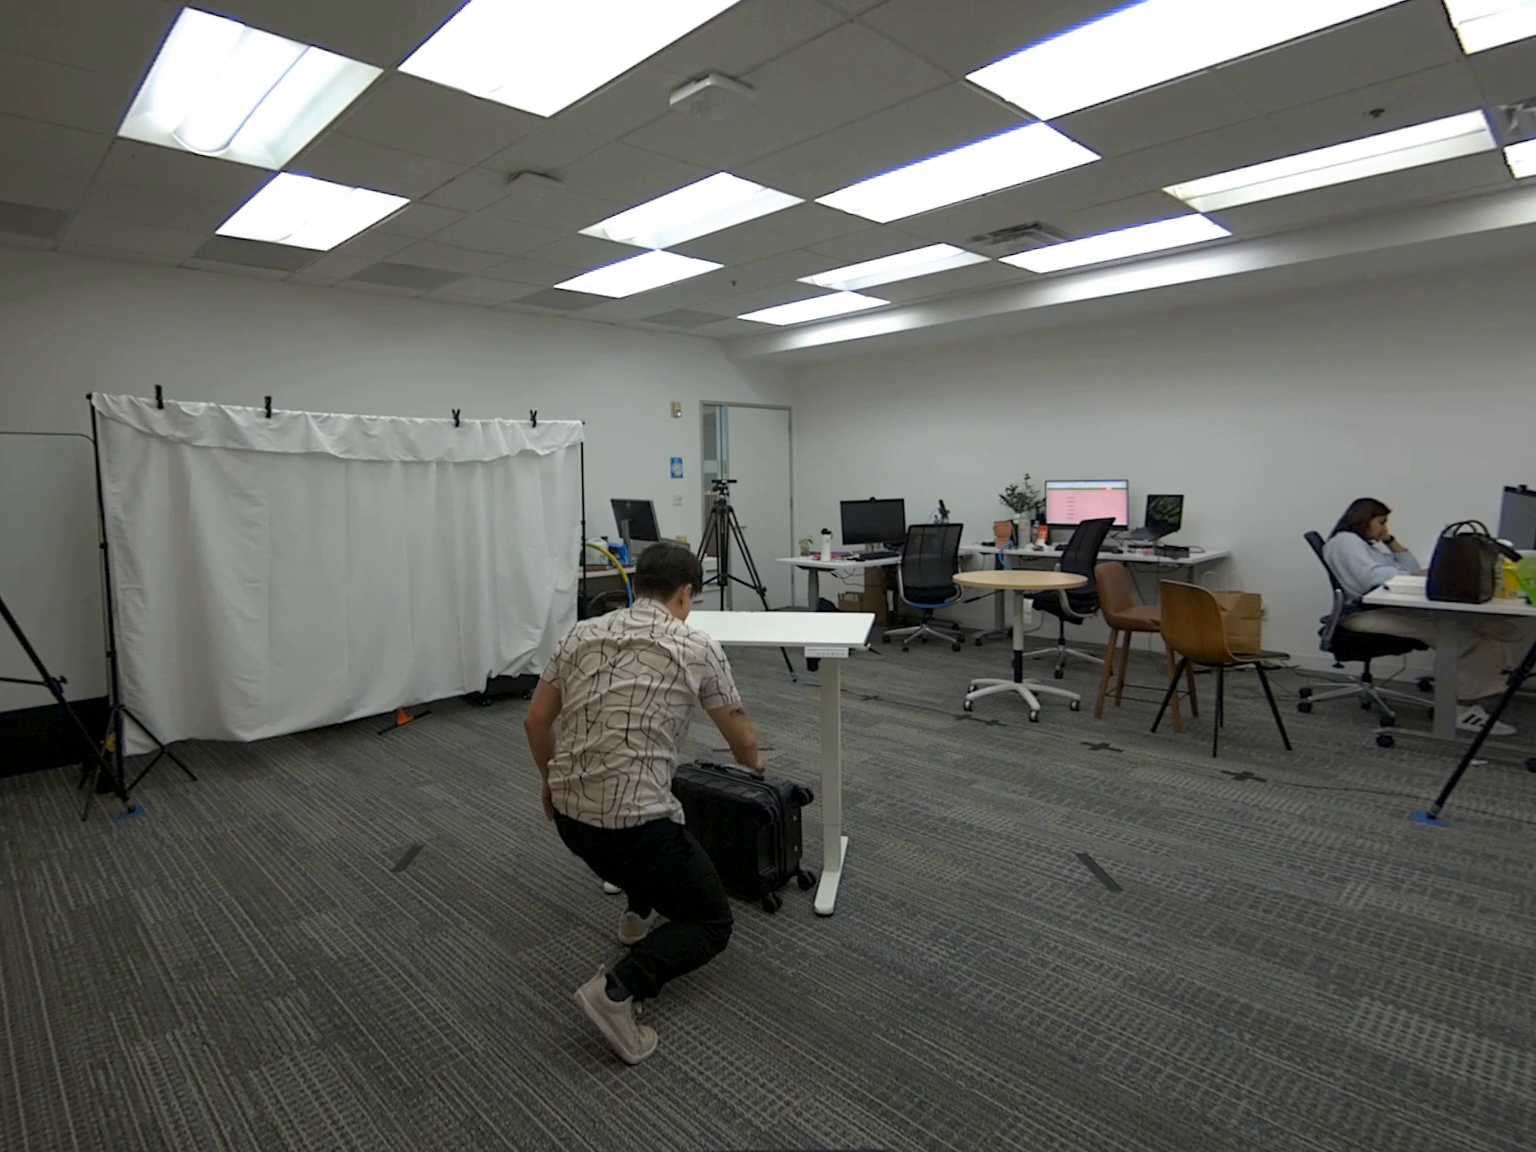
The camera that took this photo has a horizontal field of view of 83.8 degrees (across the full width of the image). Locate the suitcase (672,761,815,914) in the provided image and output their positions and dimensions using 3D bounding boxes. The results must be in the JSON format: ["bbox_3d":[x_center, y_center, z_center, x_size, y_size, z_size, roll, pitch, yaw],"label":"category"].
[{"bbox_3d":[-0.129,0.864,2.991,0.566,0.374,0.242,4,6,39],"label":"suitcase"}]
